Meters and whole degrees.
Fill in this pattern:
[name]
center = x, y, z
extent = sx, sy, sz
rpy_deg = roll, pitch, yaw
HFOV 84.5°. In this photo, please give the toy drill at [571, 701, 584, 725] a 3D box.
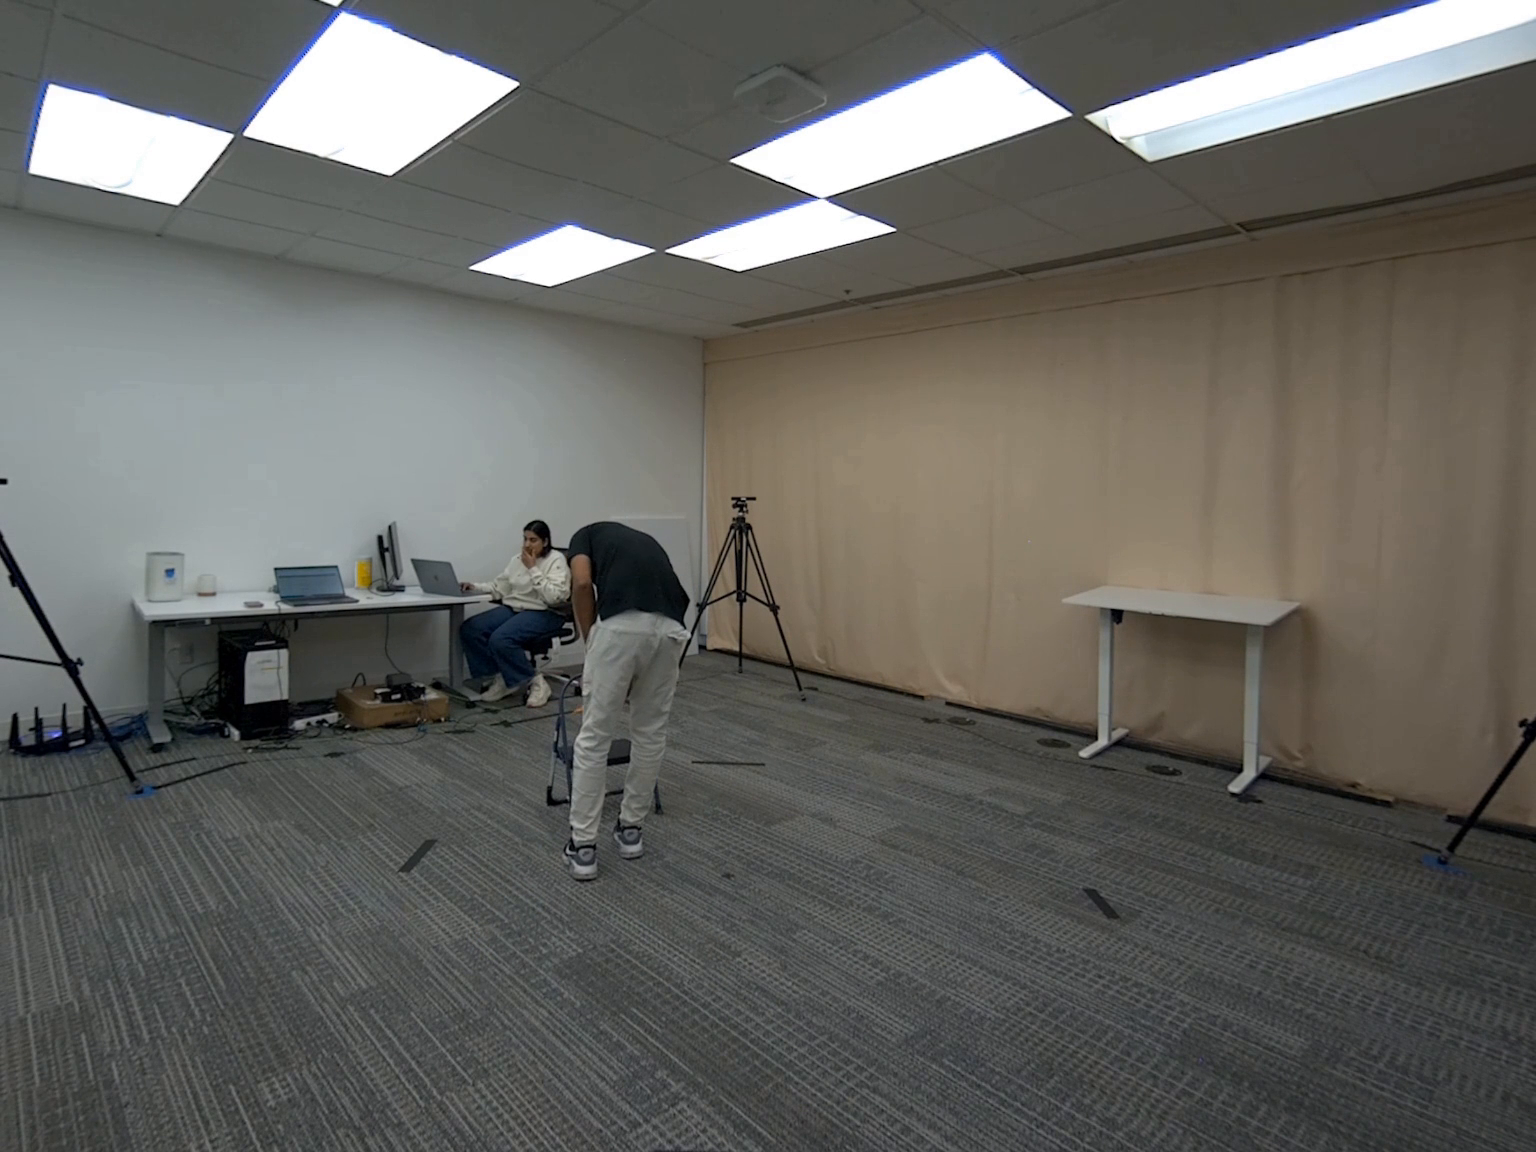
[toy drill]
center = -0.746, 0.575, 3.627
extent = 0.168, 0.061, 0.148
rpy_deg = -7, 3, -19
